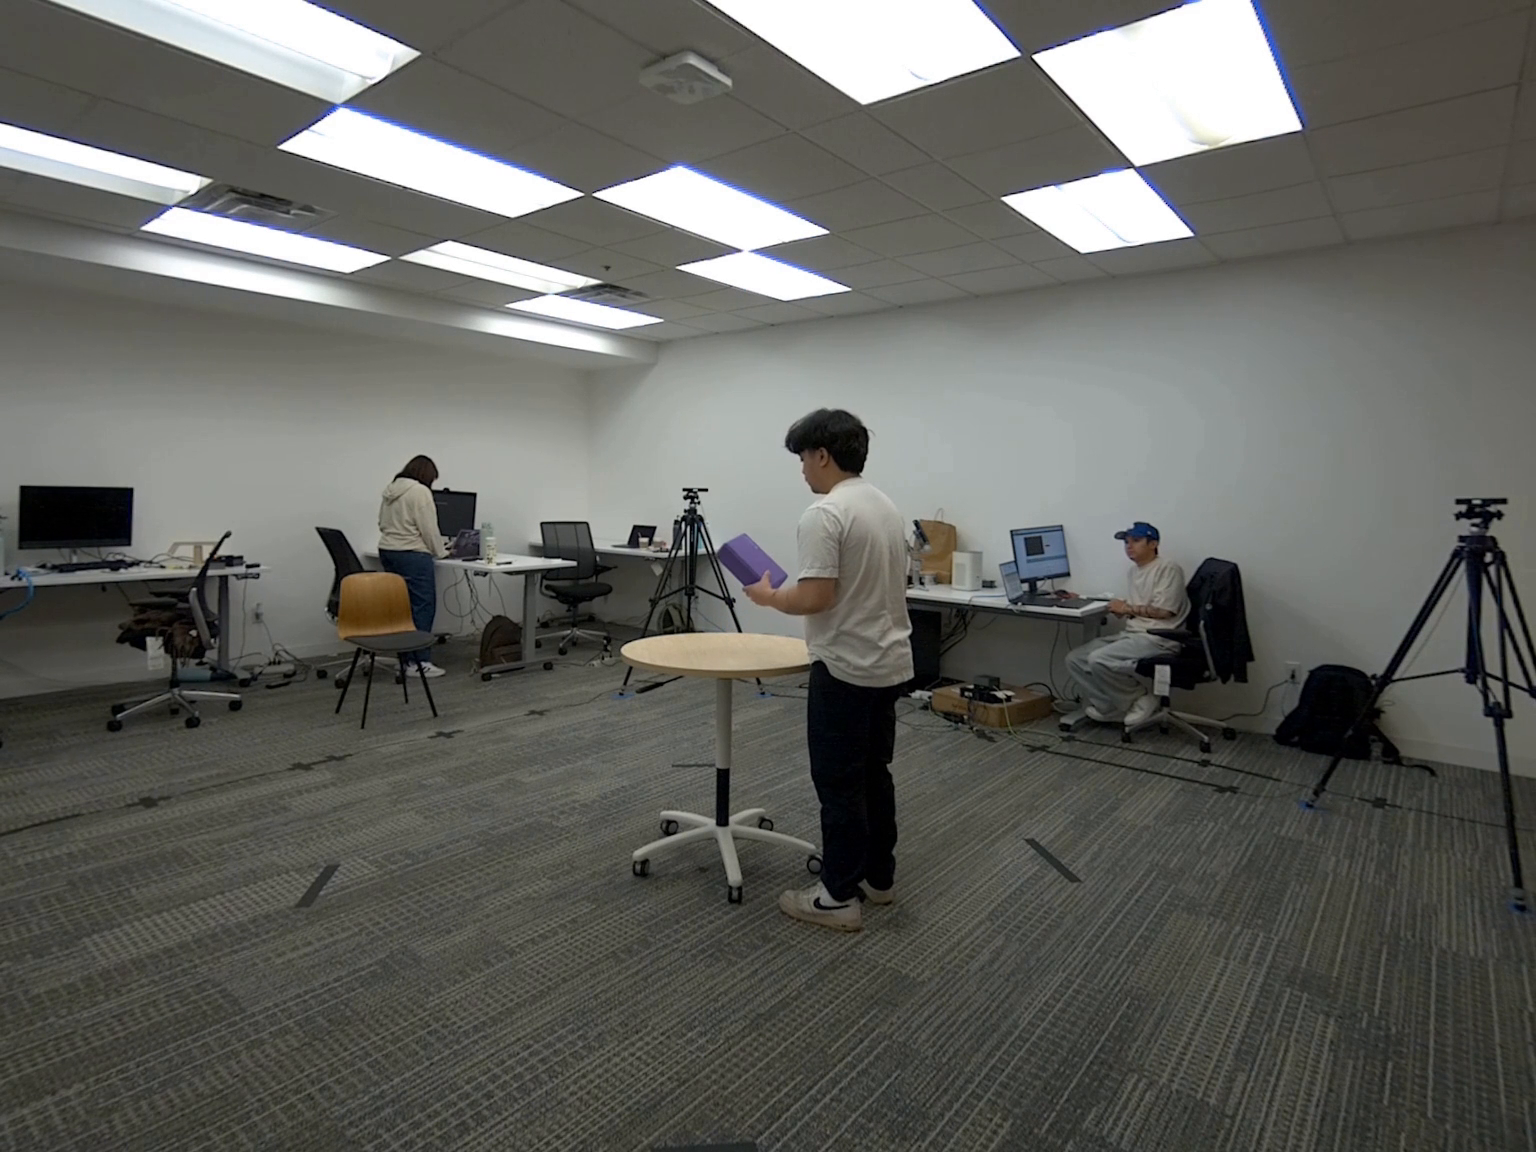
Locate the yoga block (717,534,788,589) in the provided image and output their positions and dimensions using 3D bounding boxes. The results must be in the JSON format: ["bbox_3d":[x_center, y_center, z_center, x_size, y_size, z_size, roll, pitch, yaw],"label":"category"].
[{"bbox_3d":[-0.061,-0.031,2.998,0.234,0.076,0.147,42,33,13],"label":"yoga block"}]
